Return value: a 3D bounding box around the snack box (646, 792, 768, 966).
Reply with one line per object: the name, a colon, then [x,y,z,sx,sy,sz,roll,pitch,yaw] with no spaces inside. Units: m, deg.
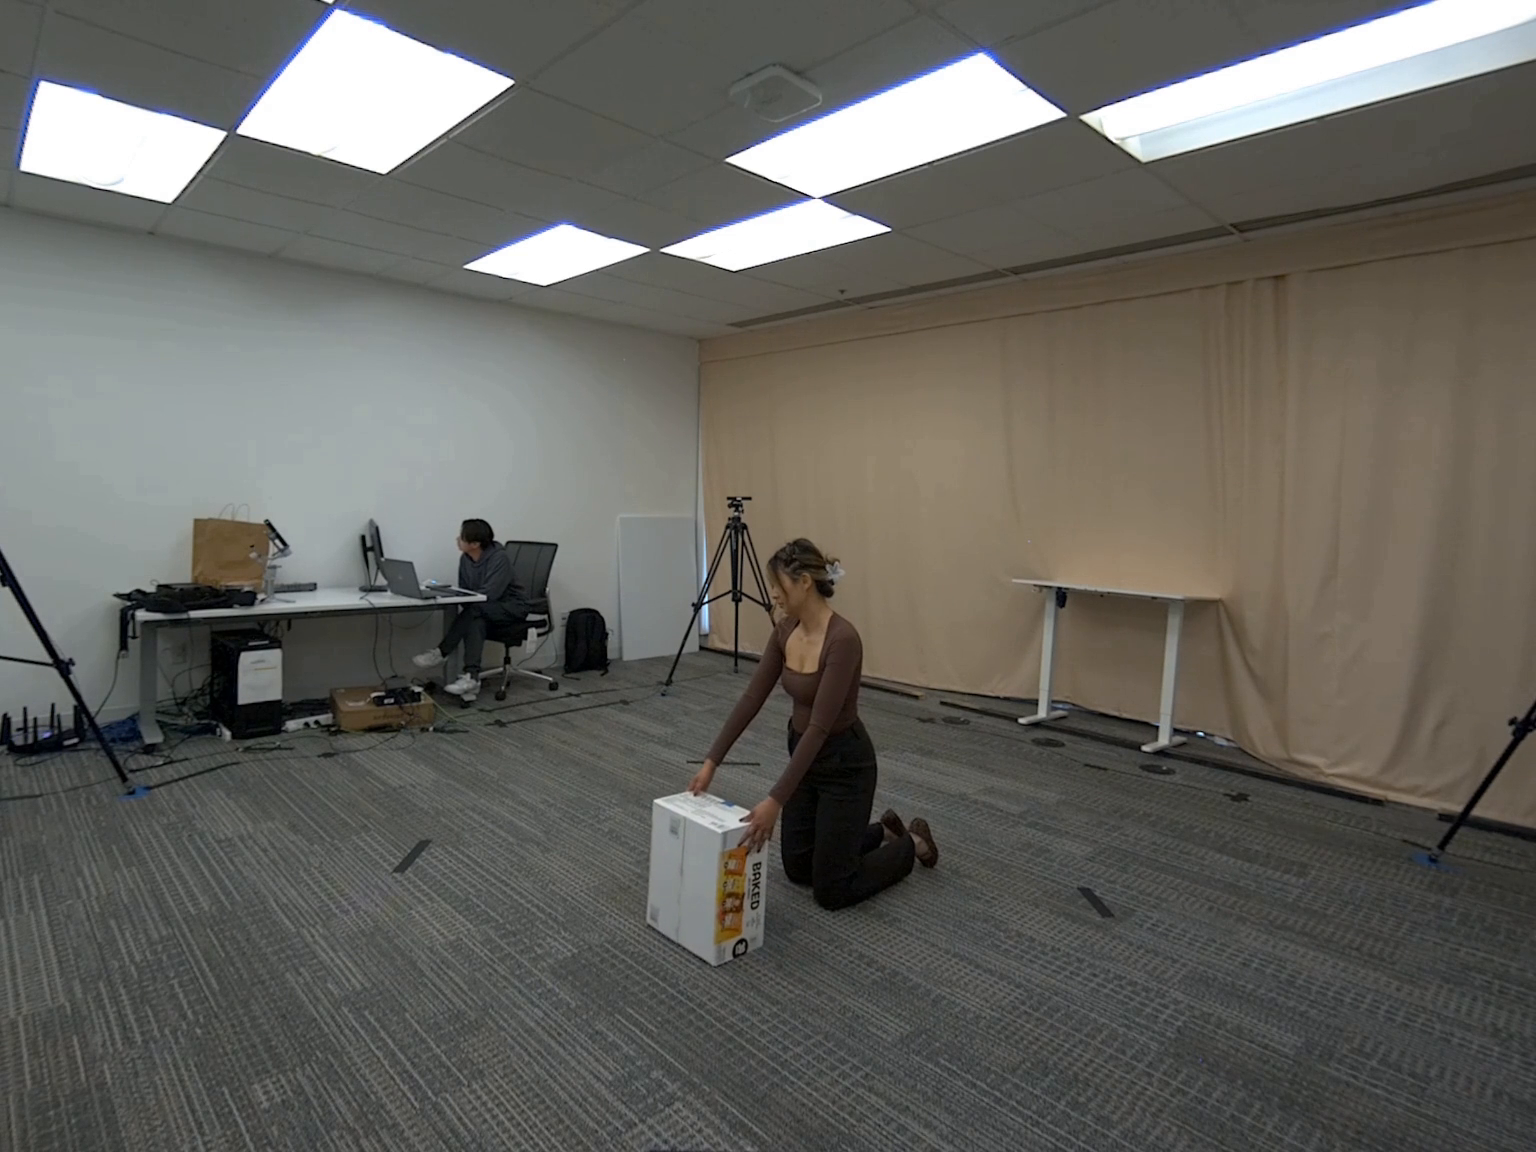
snack box: [-0.197,0.938,2.671,0.201,0.404,0.349,1,3,-44]
